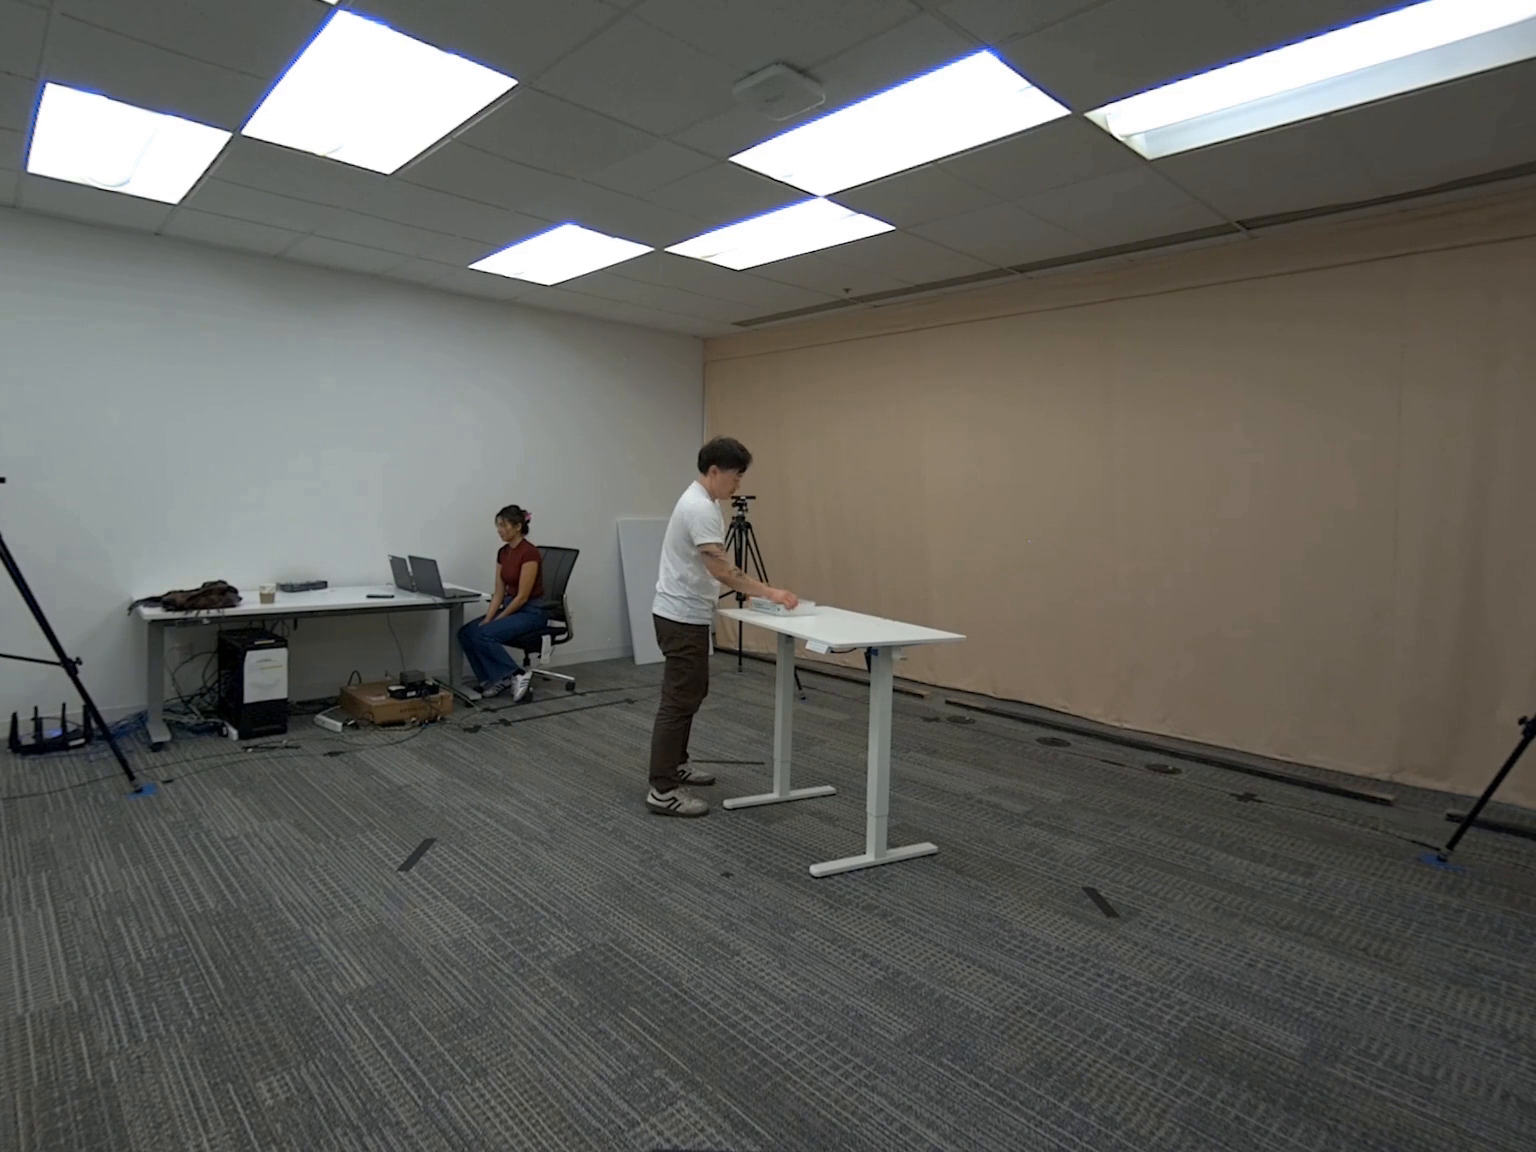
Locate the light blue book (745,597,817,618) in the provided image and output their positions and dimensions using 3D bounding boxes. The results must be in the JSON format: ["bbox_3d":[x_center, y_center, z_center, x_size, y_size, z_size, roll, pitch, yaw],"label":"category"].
[{"bbox_3d":[0.056,0.134,3.834,0.187,0.059,0.267,-3,7,-33],"label":"light blue book"}]
